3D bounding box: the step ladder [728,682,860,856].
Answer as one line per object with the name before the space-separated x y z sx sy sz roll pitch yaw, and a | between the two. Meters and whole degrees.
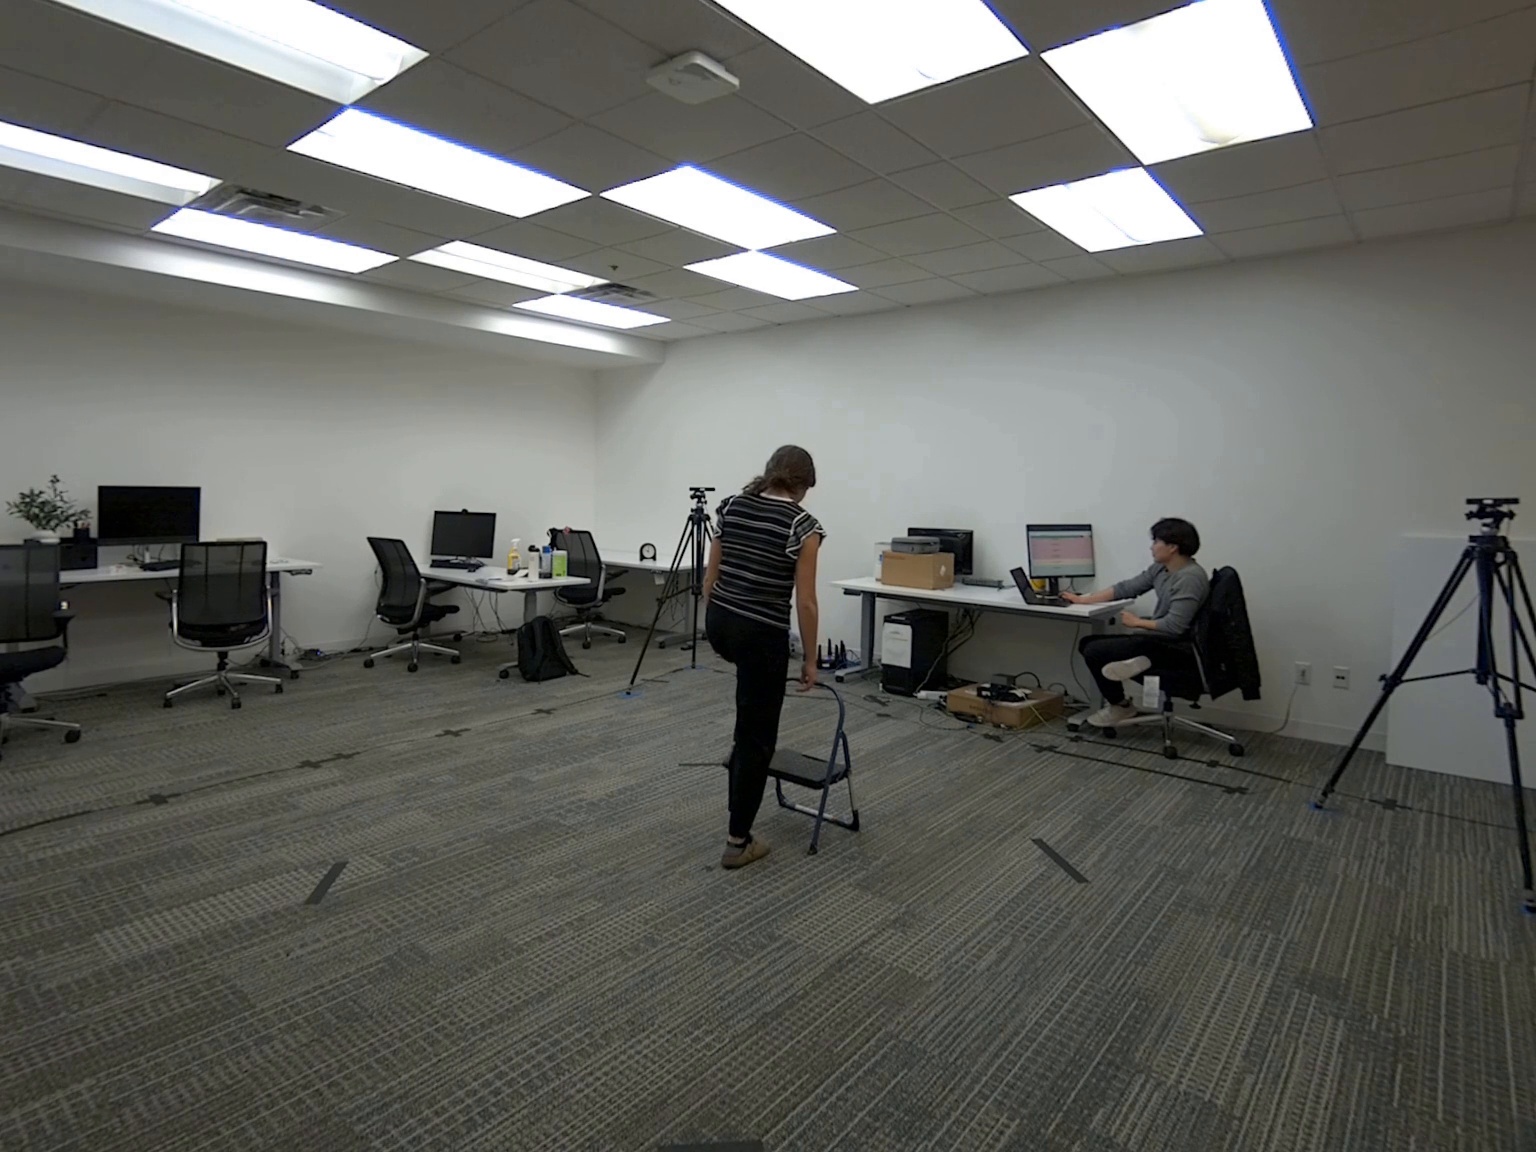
step ladder | 0.113 0.735 3.495 0.445 0.604 0.339 4 5 40
